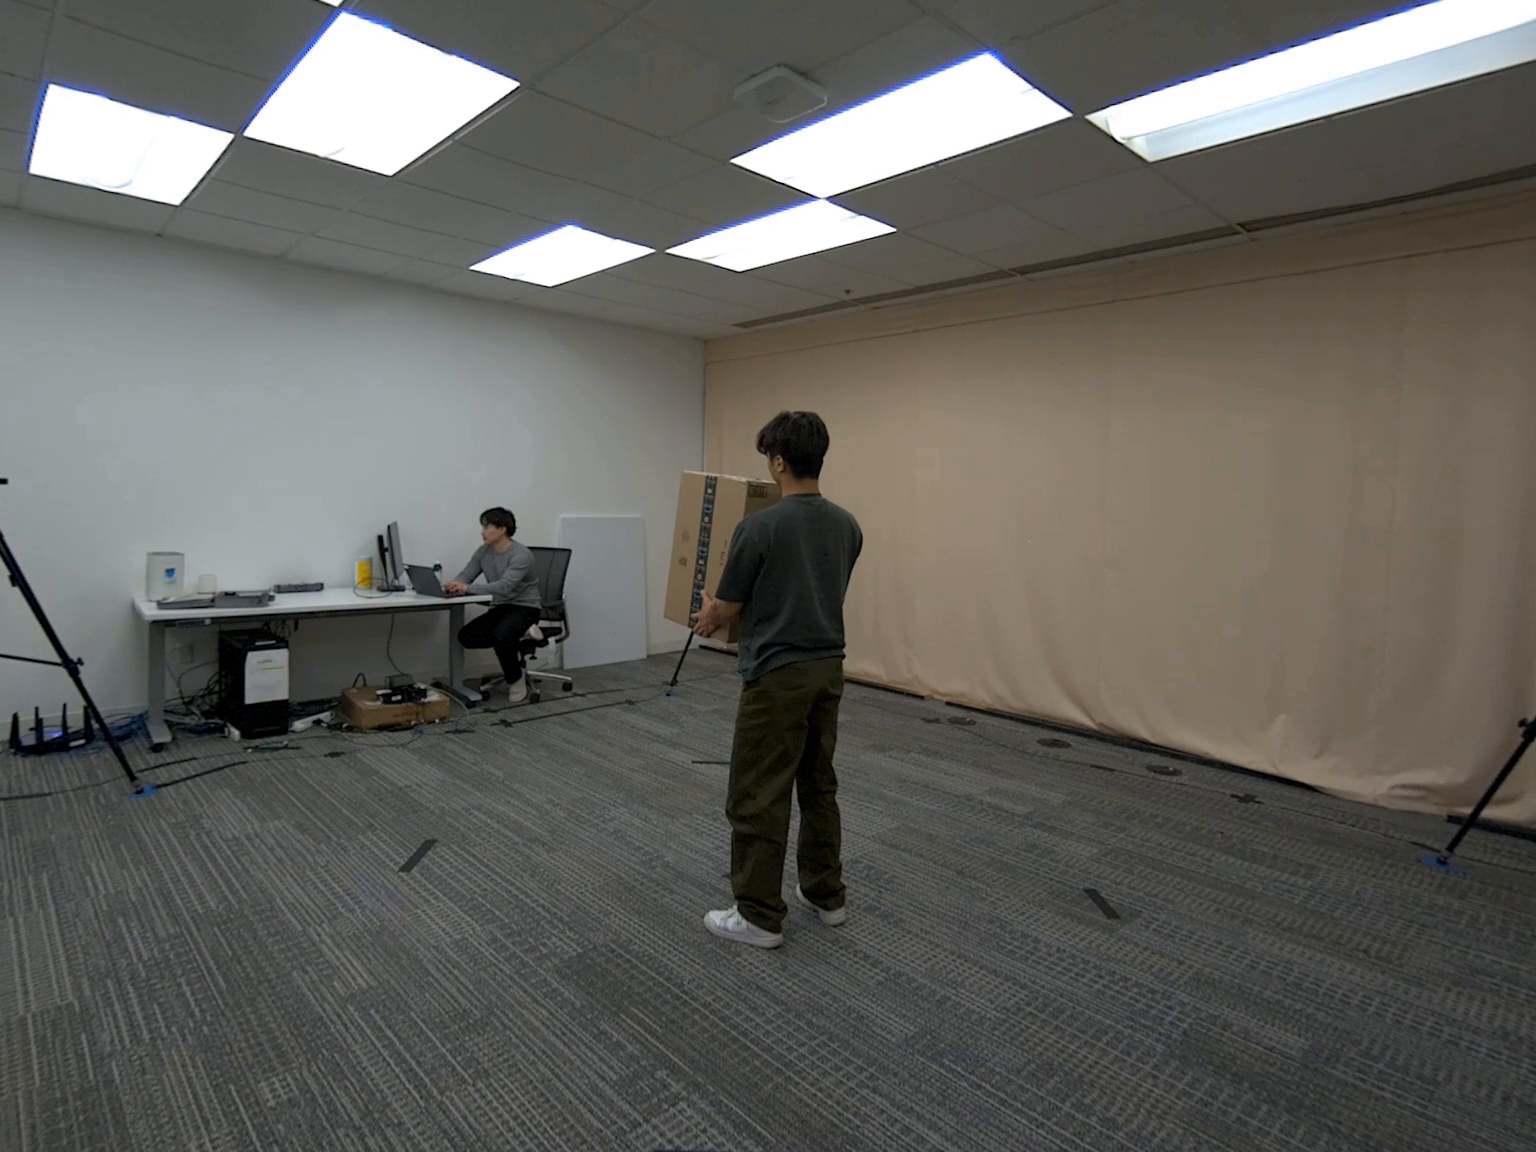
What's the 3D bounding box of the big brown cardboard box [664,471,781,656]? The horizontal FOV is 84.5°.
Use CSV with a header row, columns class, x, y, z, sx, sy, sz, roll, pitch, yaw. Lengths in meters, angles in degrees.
class,x,y,z,sx,sy,sz,roll,pitch,yaw
big brown cardboard box,-0.158,-0.084,3.085,0.227,0.587,0.429,4,8,-38
